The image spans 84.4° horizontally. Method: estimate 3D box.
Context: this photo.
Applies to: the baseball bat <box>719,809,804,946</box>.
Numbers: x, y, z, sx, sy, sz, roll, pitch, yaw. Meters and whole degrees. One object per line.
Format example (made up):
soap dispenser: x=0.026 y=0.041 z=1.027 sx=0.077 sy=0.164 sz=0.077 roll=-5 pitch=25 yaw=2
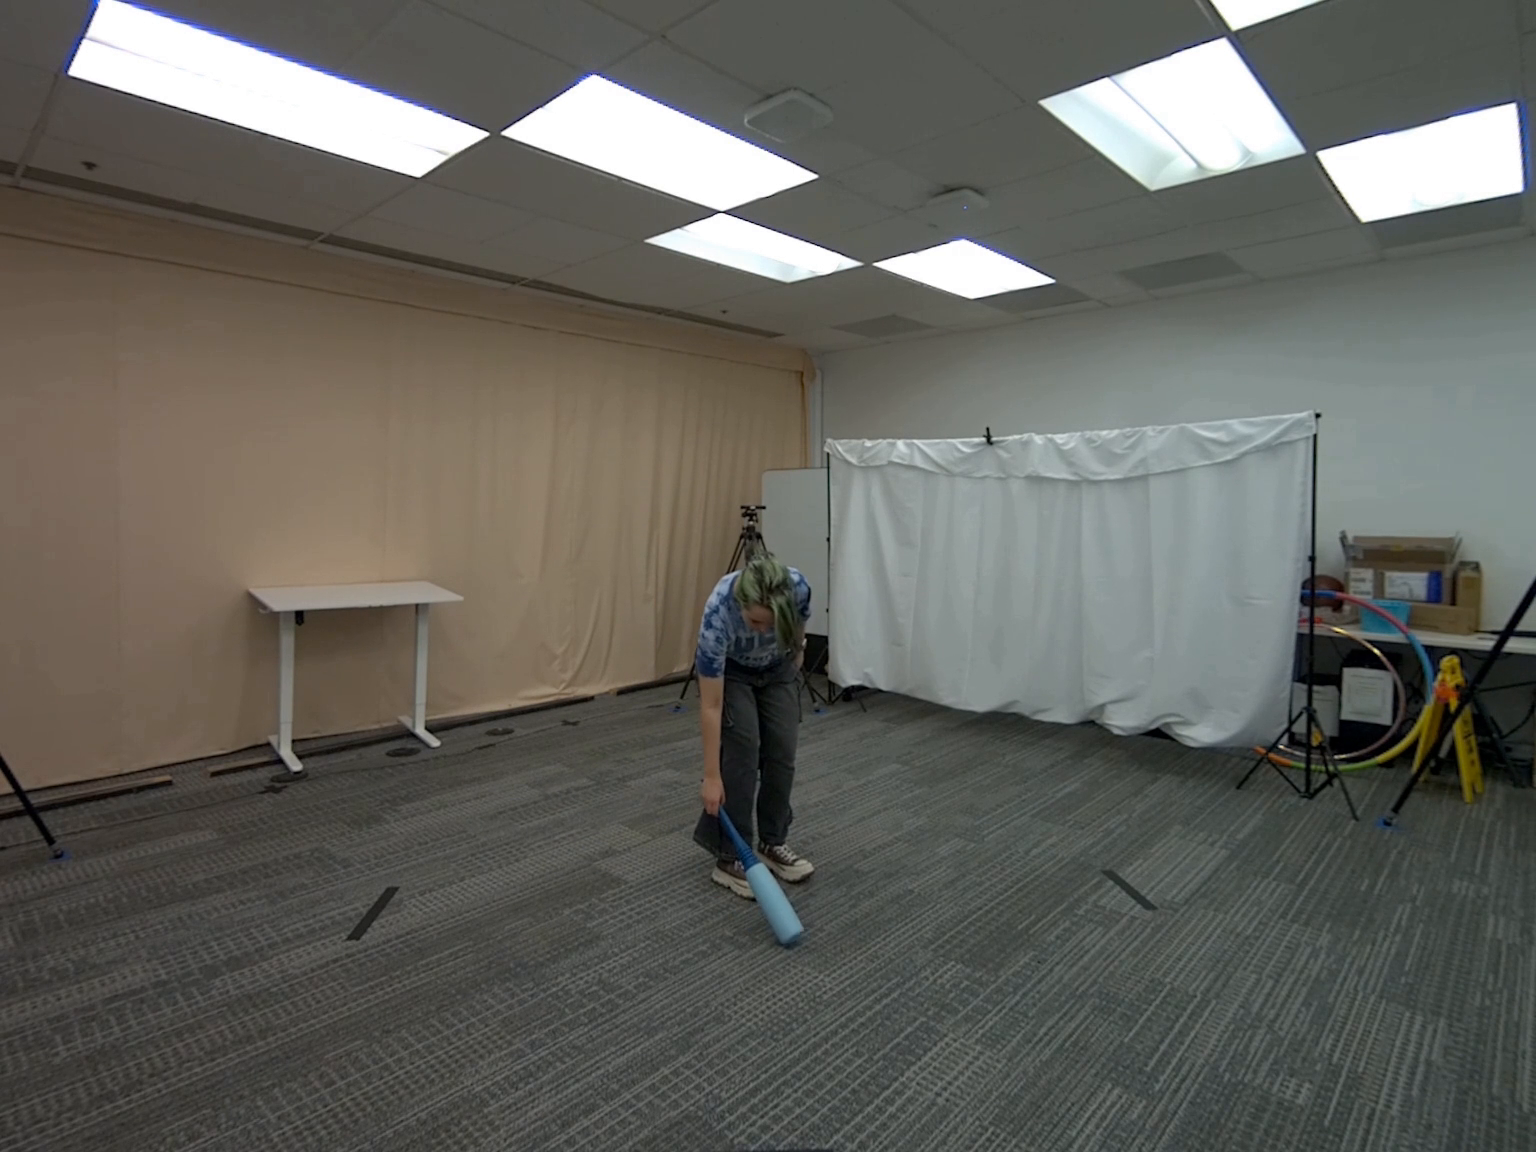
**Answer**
baseball bat: x=-0.056 y=0.948 z=2.802 sx=0.086 sy=0.089 sz=0.560 roll=-3 pitch=45 yaw=-42
